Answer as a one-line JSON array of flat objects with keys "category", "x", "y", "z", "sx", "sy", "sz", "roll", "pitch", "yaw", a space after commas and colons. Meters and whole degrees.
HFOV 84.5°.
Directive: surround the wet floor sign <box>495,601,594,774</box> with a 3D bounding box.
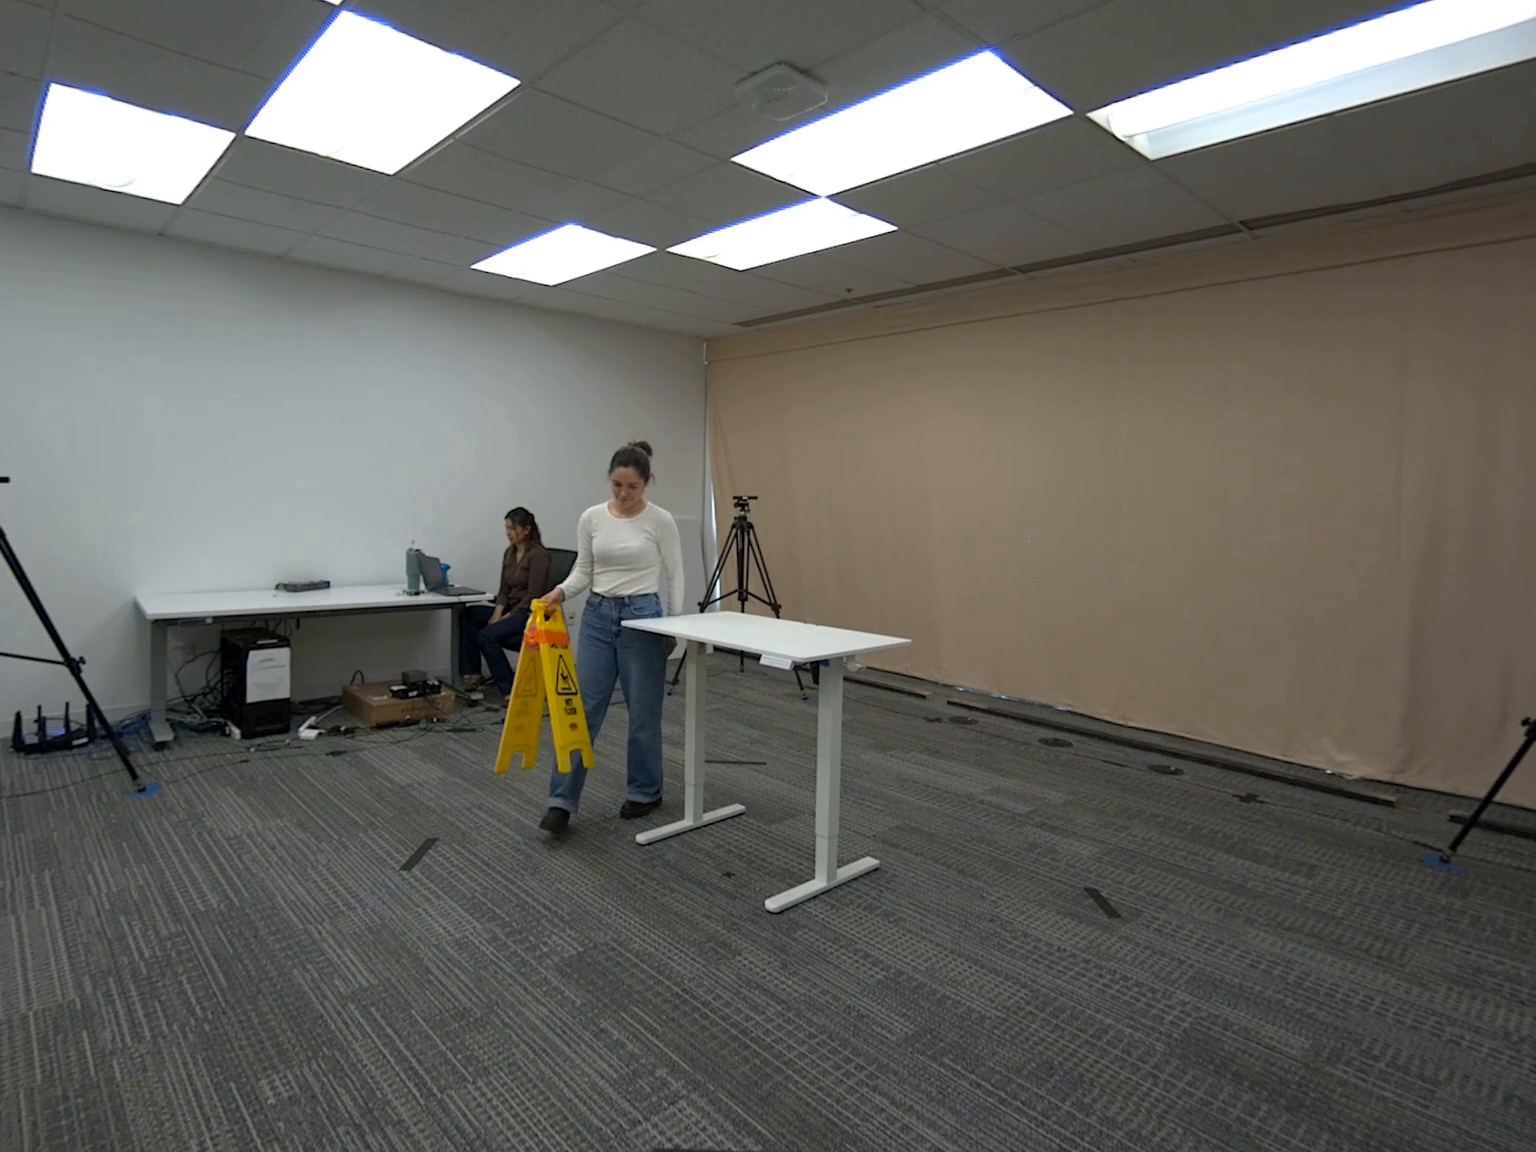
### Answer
[{"category": "wet floor sign", "x": -0.875, "y": 0.426, "z": 3.253, "sx": 0.293, "sy": 0.651, "sz": 0.277, "roll": -4, "pitch": -10, "yaw": 14}]
